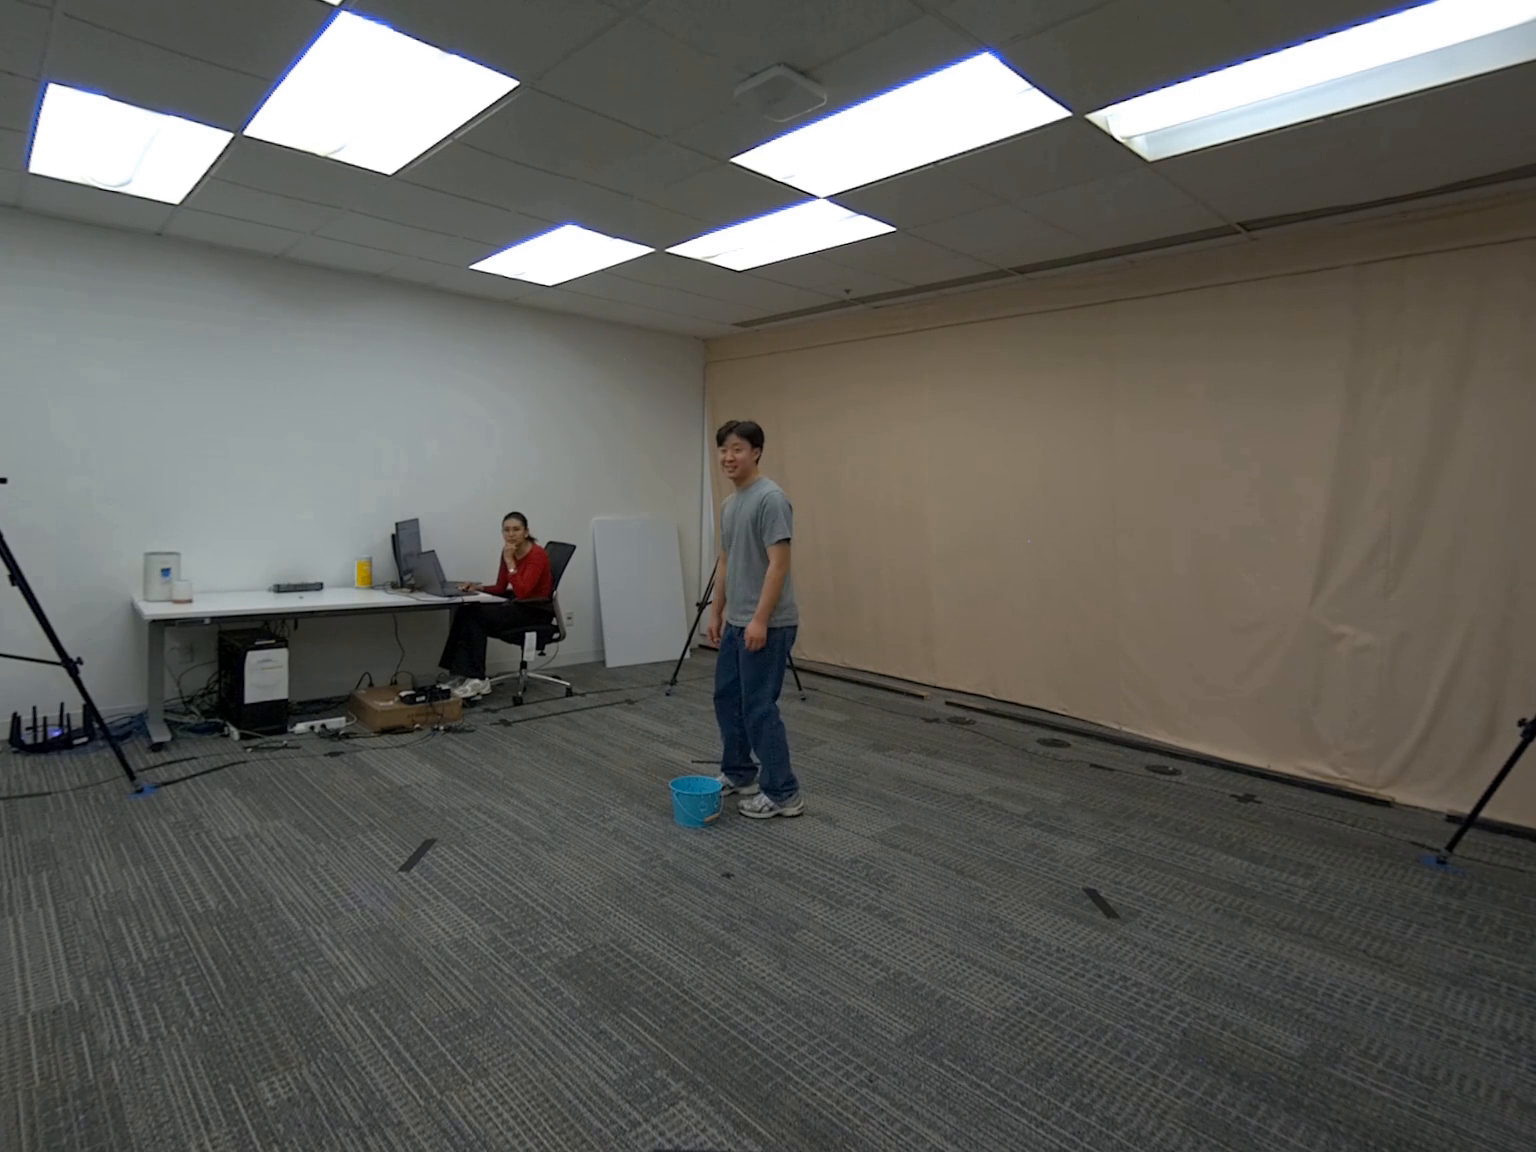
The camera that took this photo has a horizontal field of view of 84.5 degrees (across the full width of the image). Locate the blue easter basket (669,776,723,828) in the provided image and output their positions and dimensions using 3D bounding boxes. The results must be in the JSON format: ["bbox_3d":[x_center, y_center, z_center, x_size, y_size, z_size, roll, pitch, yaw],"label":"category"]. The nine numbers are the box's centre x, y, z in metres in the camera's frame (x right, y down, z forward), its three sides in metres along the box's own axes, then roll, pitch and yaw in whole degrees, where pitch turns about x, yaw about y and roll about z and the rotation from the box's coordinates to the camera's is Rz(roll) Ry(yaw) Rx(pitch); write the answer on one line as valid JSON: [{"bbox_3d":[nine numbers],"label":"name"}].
[{"bbox_3d":[-0.324,0.977,3.640,0.243,0.155,0.244,1,5,-1],"label":"blue easter basket"}]
